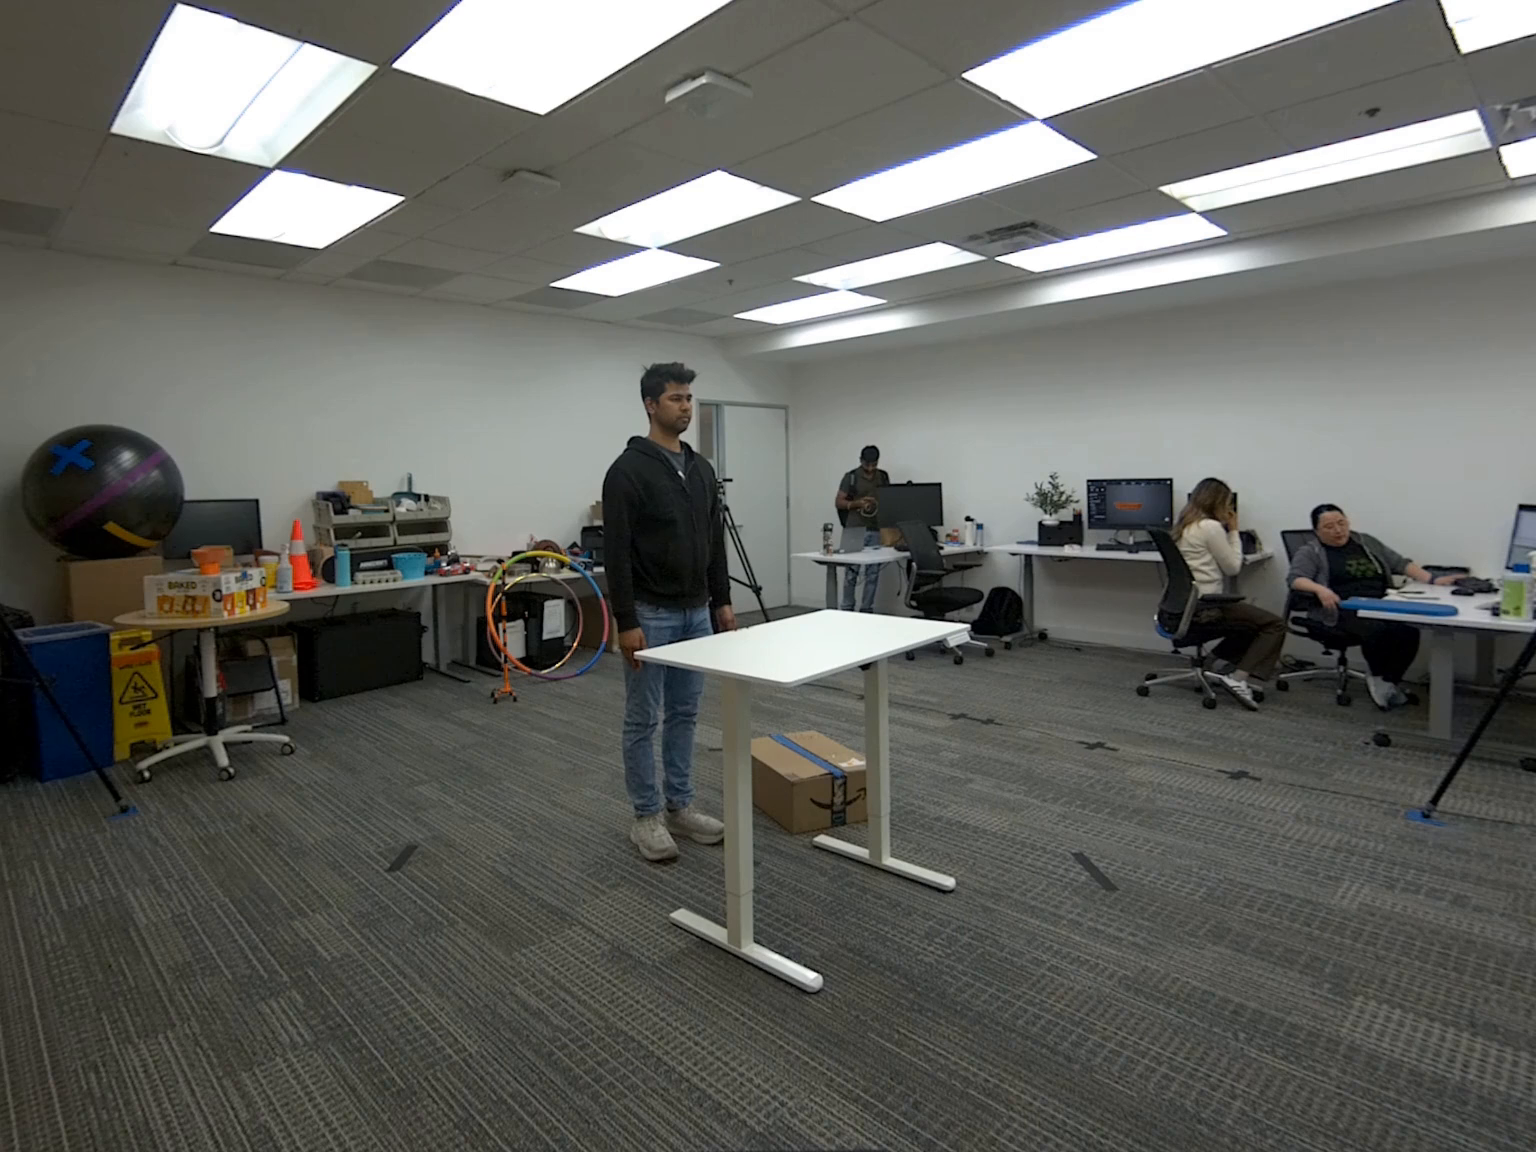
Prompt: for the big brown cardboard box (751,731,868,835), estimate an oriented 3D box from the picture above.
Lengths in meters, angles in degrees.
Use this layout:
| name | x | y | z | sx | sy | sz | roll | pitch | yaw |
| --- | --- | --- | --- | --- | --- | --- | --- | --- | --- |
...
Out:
| name | x | y | z | sx | sy | sz | roll | pitch | yaw |
| --- | --- | --- | --- | --- | --- | --- | --- | --- | --- |
| big brown cardboard box | 0.159 | 0.866 | 3.670 | 0.409 | 0.232 | 0.604 | -4 | 6 | -26 |
